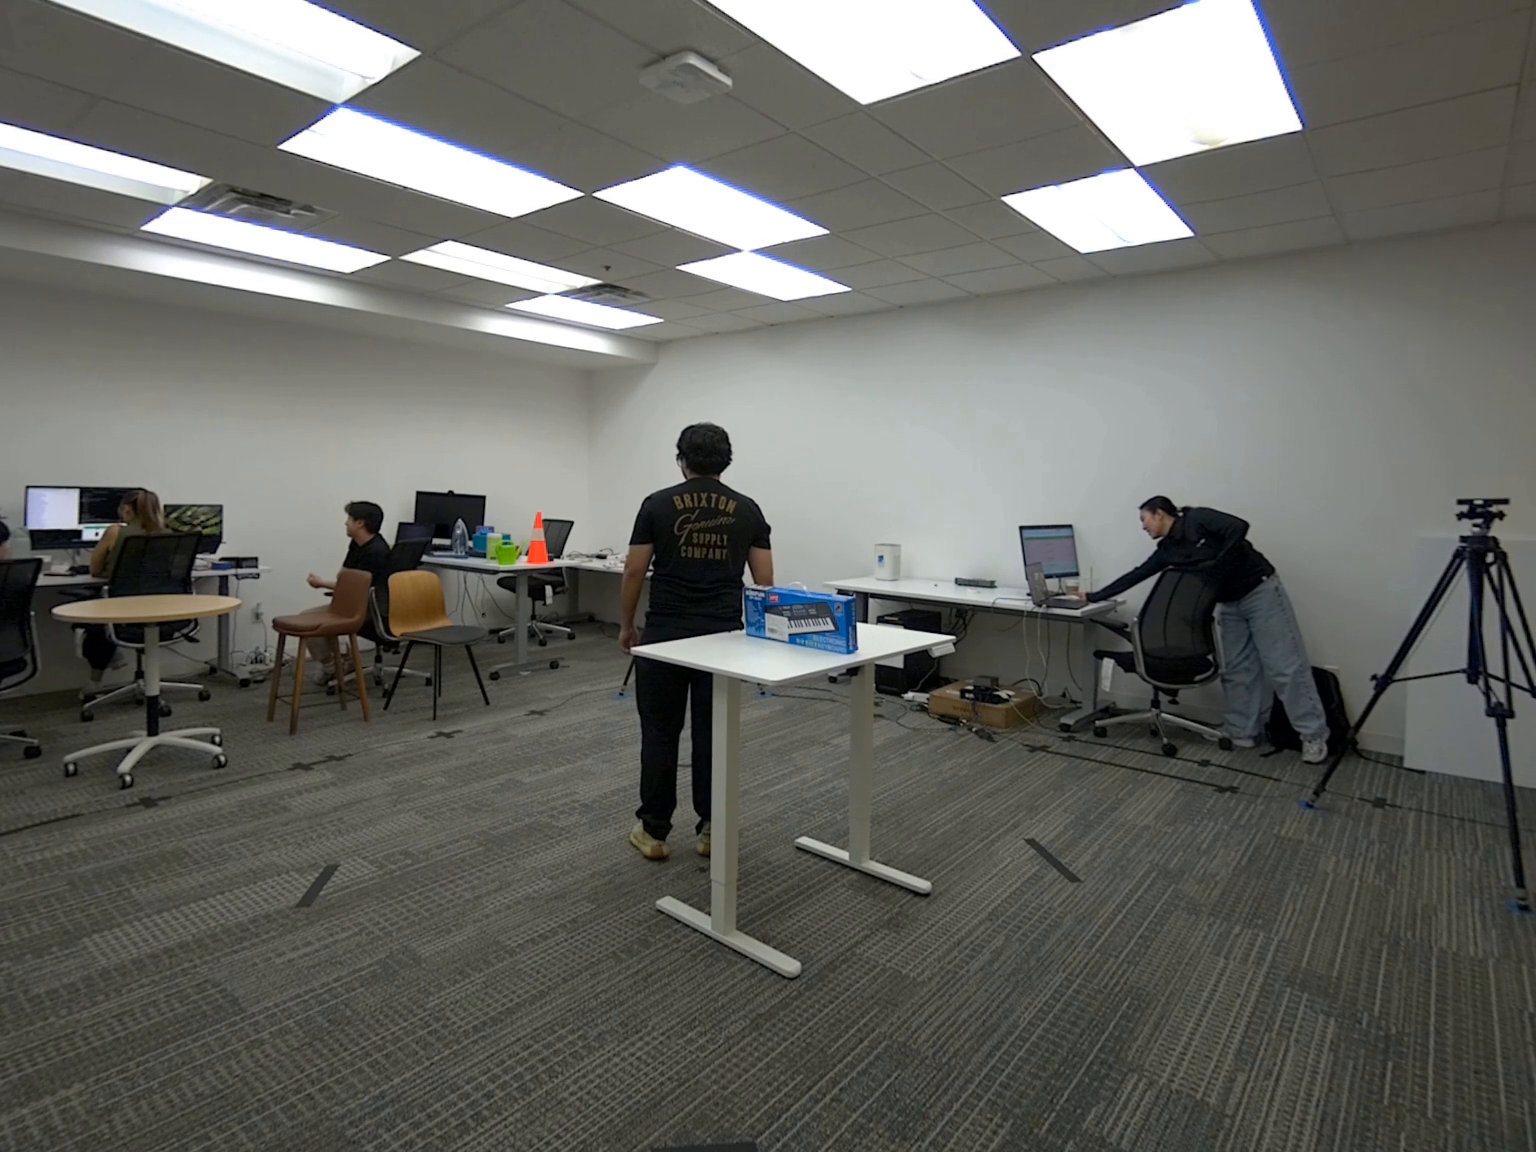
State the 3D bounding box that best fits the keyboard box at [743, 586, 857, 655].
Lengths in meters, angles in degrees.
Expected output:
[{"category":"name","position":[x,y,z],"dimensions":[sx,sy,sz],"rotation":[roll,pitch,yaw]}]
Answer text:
[{"category":"keyboard box","position":[0.091,0.138,2.798],"dimensions":[0.452,0.174,0.057],"rotation":[7,13,43]}]
